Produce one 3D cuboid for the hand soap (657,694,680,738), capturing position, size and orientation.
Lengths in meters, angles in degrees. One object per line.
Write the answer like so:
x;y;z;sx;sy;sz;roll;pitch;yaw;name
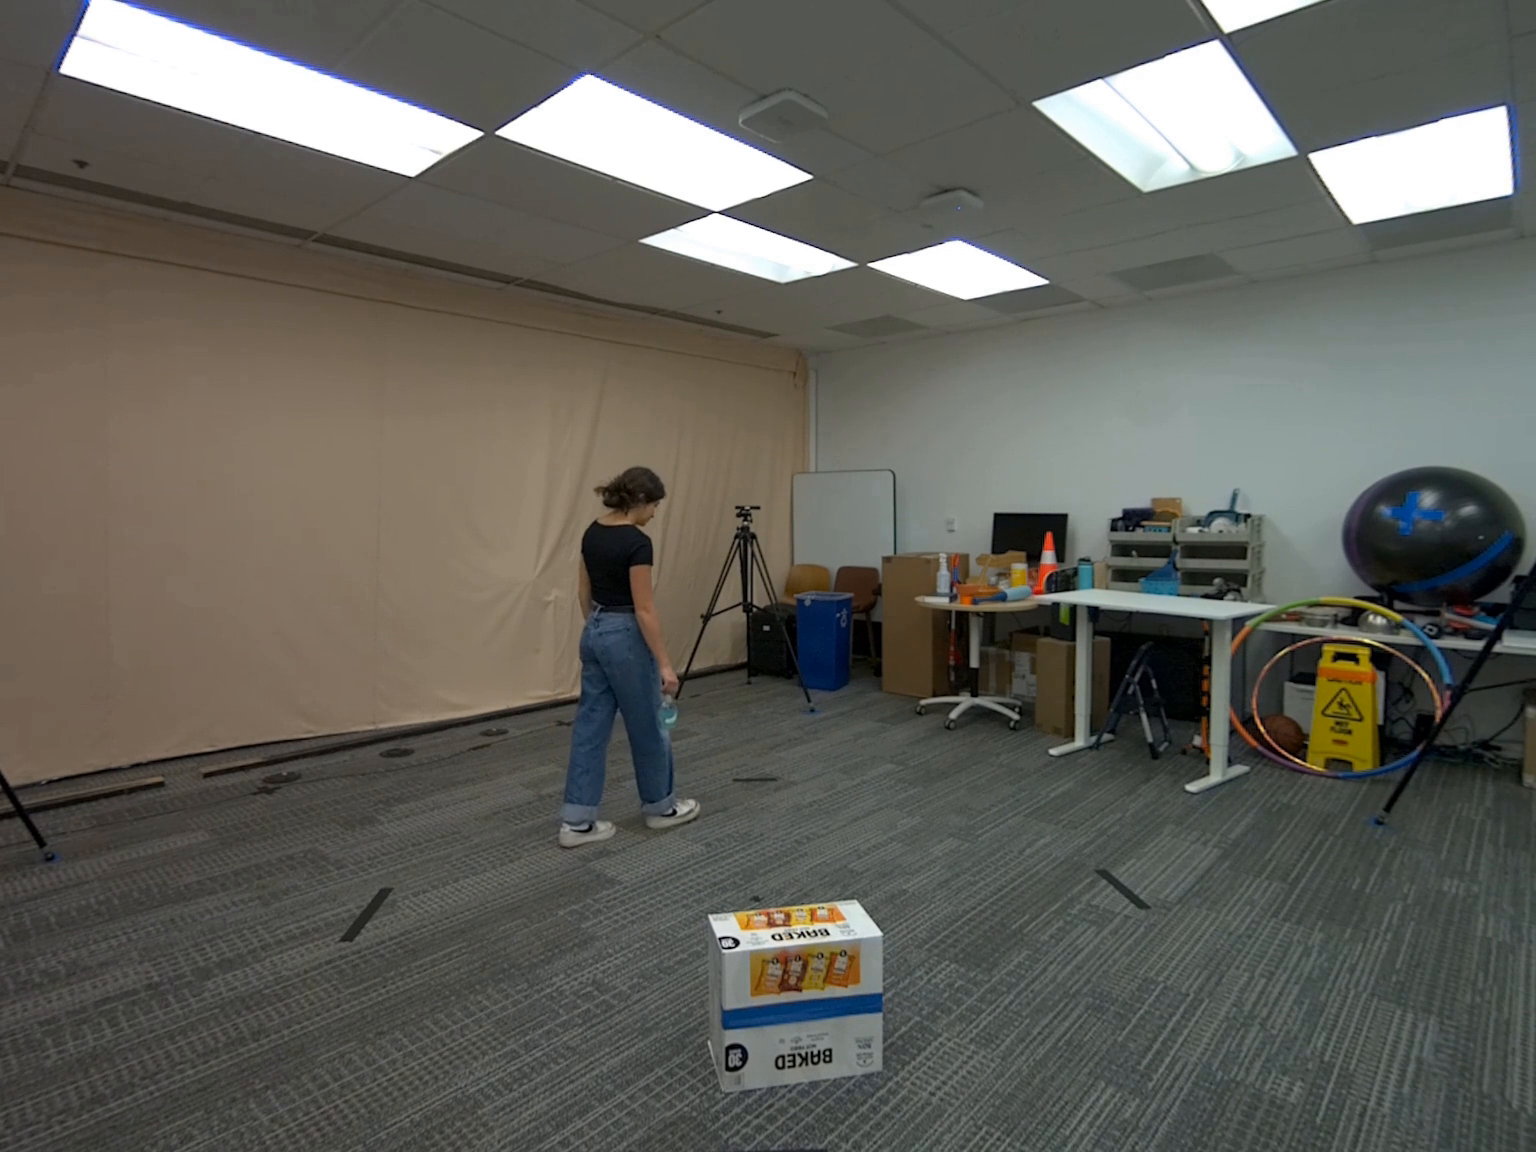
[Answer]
-0.410;0.533;3.443;0.082;0.168;0.044;-1;2;-27;hand soap
